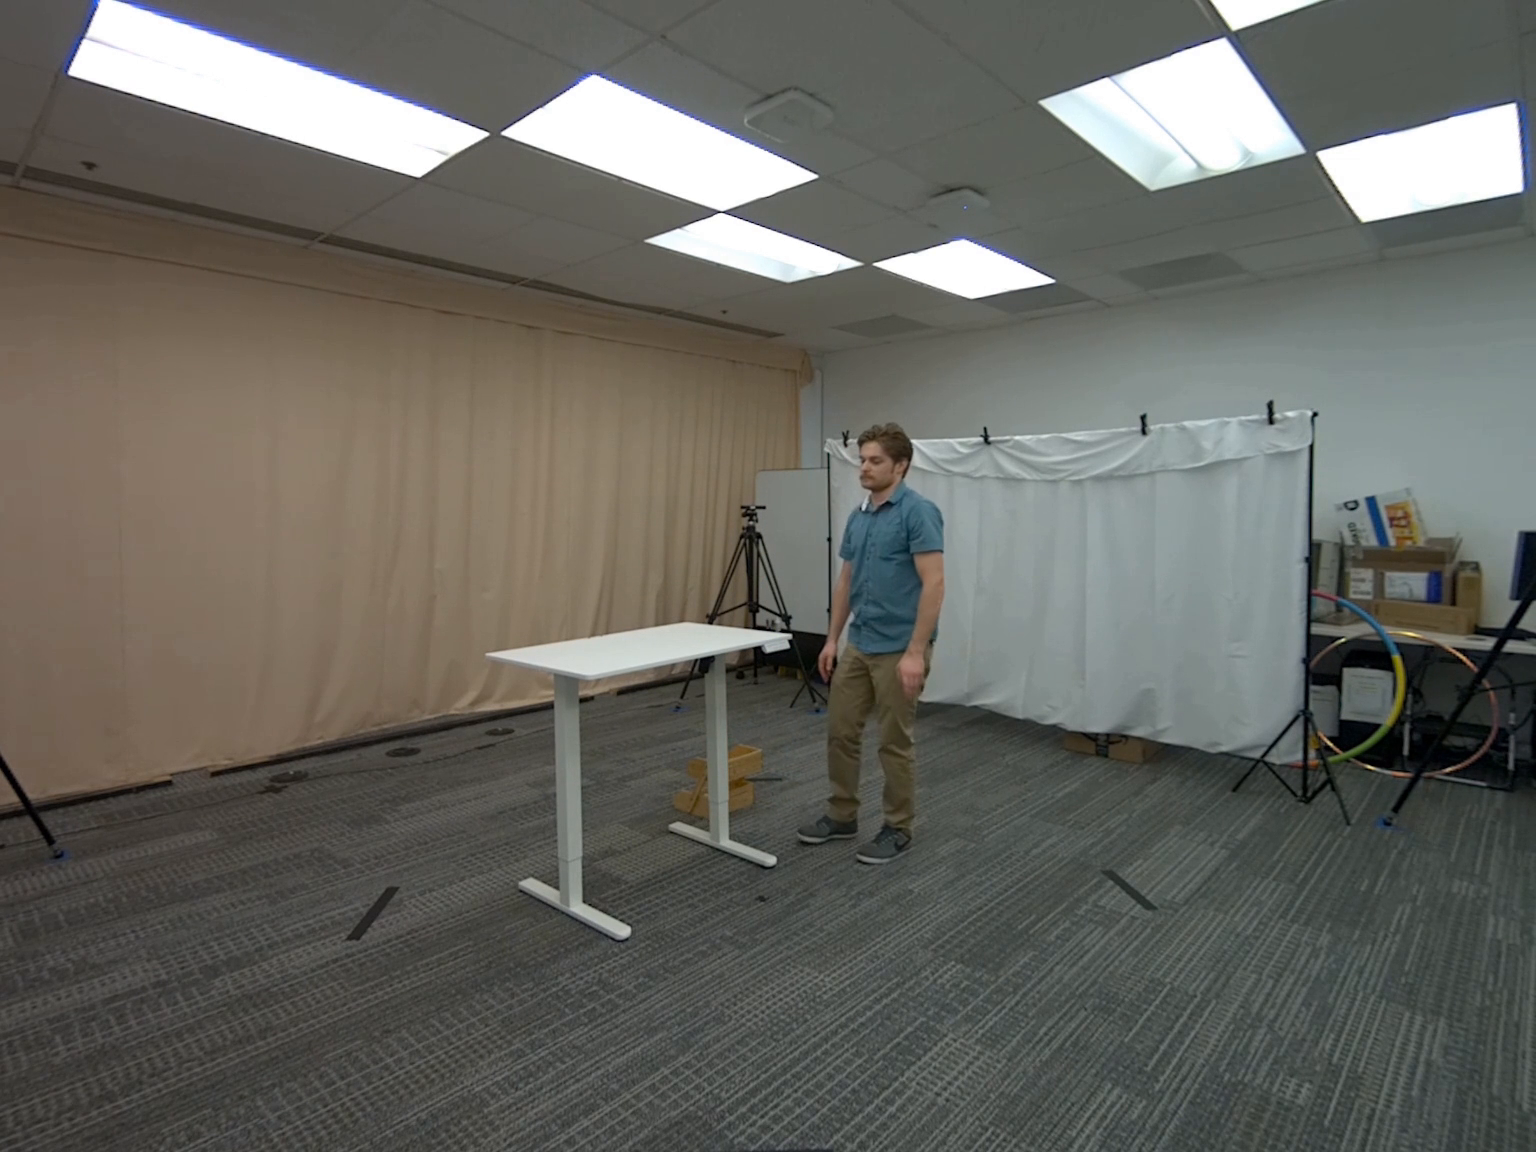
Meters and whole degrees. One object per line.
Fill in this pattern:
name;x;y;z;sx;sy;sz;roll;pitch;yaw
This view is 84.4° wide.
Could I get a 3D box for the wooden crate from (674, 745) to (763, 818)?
wooden crate;-0.235;0.934;3.915;0.312;0.272;0.314;5;6;41
